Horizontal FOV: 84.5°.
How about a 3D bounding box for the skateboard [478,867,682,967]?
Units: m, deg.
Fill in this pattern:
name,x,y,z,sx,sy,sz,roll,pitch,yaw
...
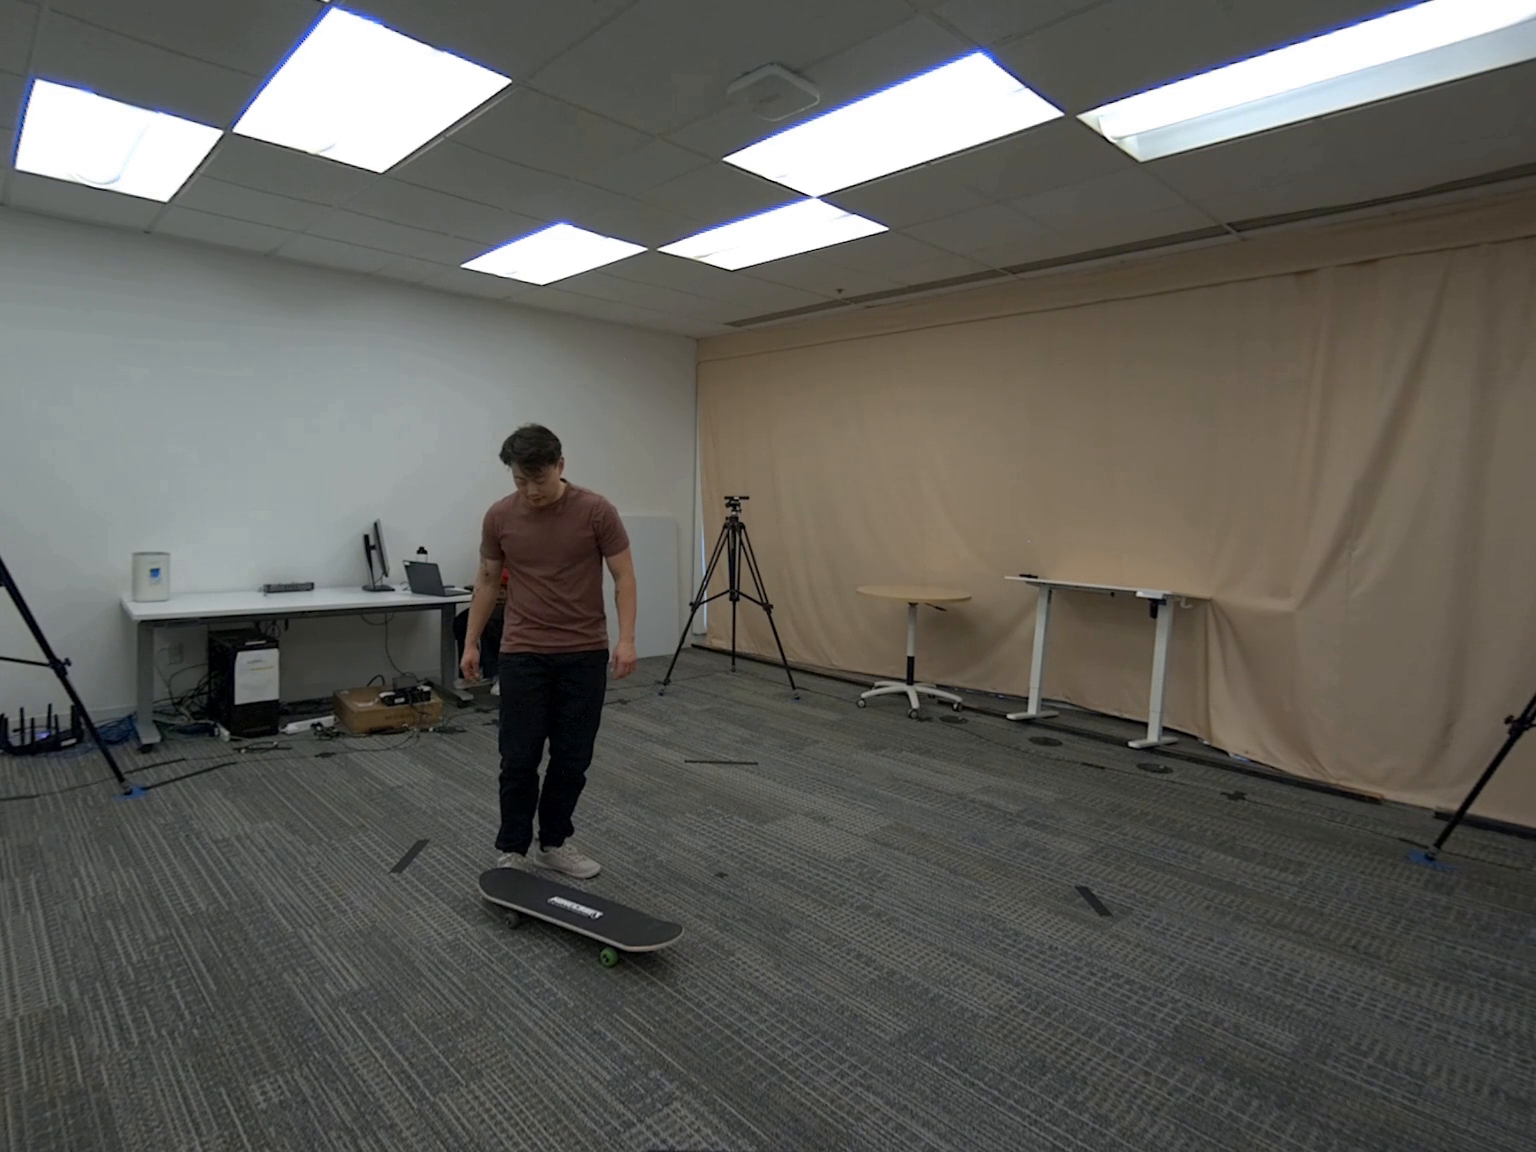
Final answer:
name,x,y,z,sx,sy,sz,roll,pitch,yaw
skateboard,-0.615,1.081,2.653,0.803,0.110,0.190,4,4,30
